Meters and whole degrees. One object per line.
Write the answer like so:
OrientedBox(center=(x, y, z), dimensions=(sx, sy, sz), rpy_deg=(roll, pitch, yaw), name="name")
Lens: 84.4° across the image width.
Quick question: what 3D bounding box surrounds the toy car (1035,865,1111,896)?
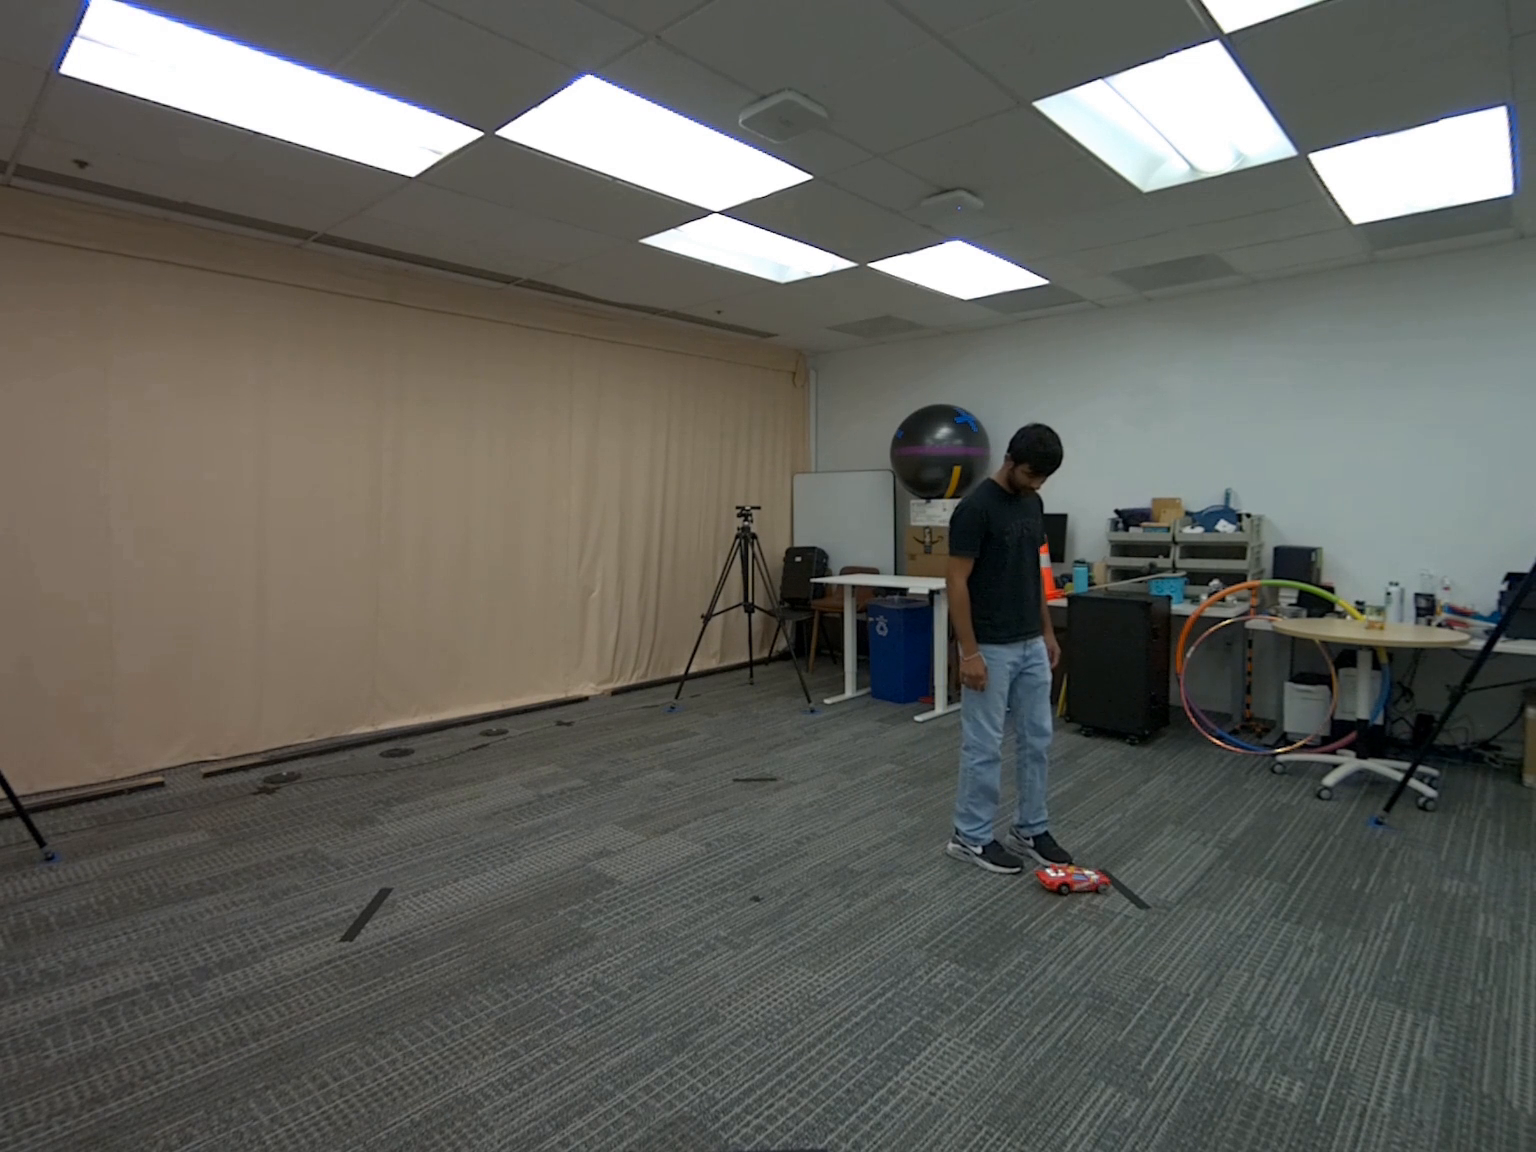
OrientedBox(center=(1.109, 1.110, 3.053), dimensions=(0.253, 0.083, 0.131), rpy_deg=(10, 4, -5), name="toy car")
